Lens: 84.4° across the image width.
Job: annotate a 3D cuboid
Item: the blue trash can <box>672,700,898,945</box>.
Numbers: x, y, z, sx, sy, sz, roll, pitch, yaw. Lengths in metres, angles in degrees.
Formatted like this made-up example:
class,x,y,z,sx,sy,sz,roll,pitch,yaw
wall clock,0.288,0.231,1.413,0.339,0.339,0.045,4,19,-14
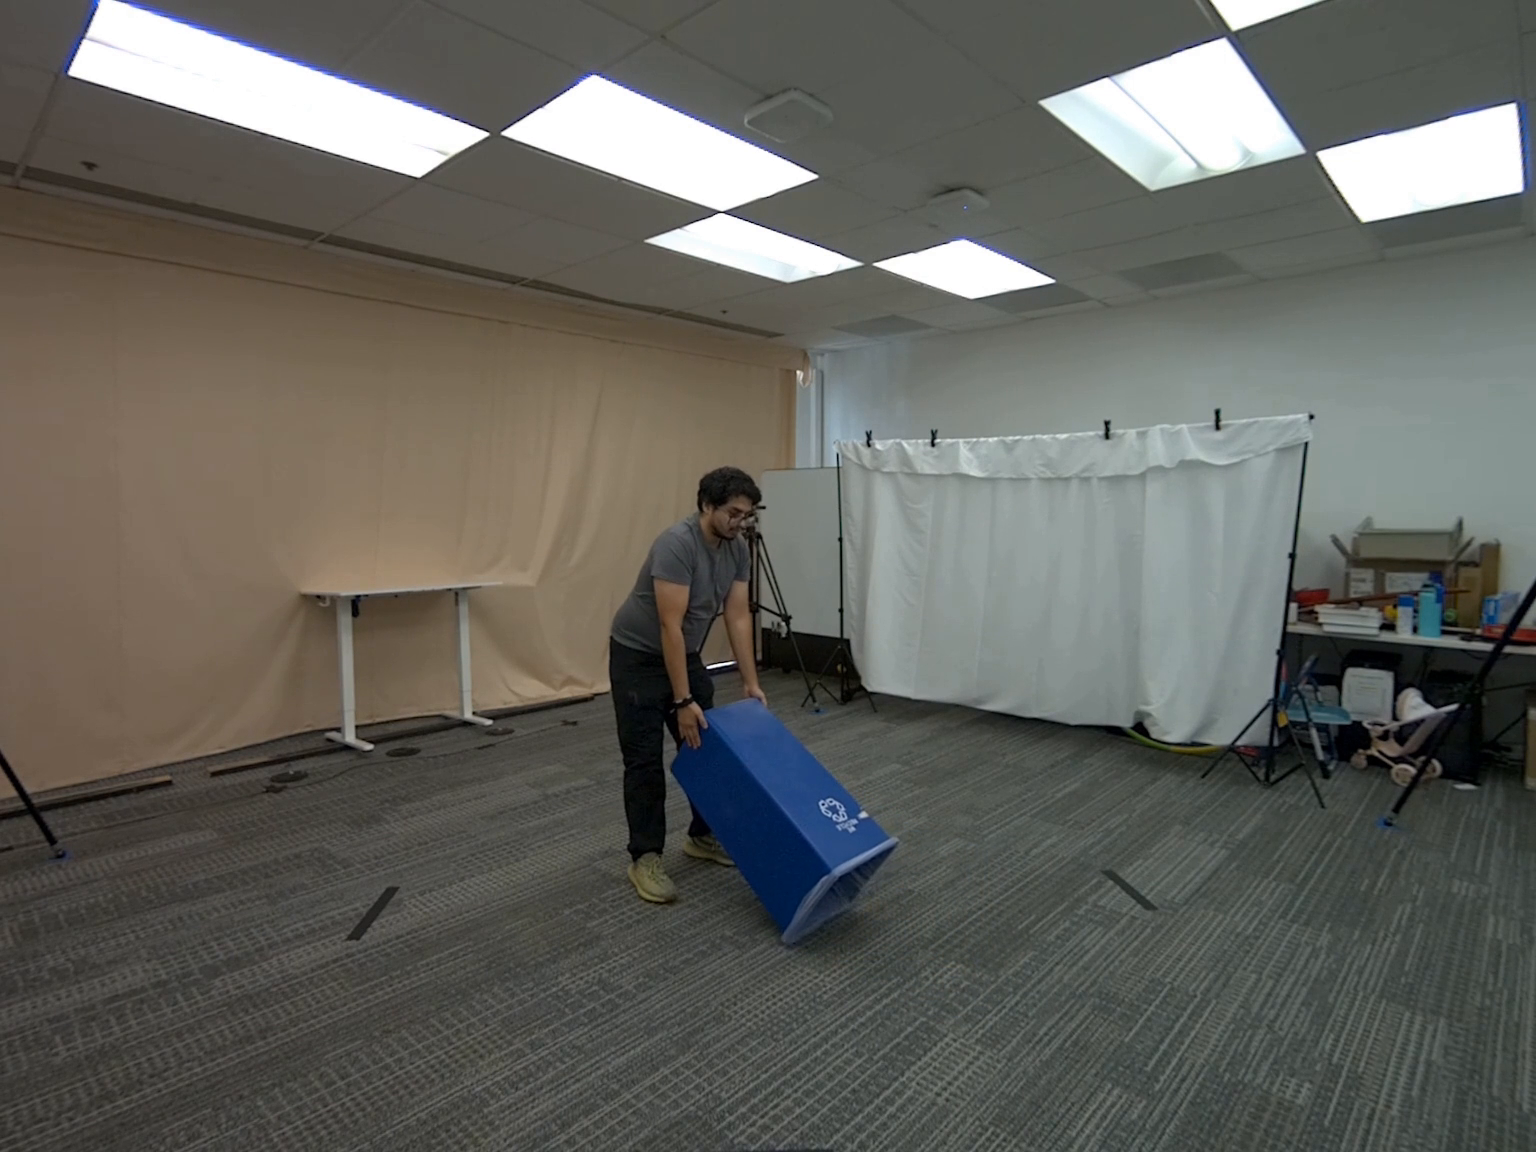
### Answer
class,x,y,z,sx,sy,sz,roll,pitch,yaw
blue trash can,0.020,0.802,2.894,0.363,0.377,0.737,-5,41,-48
